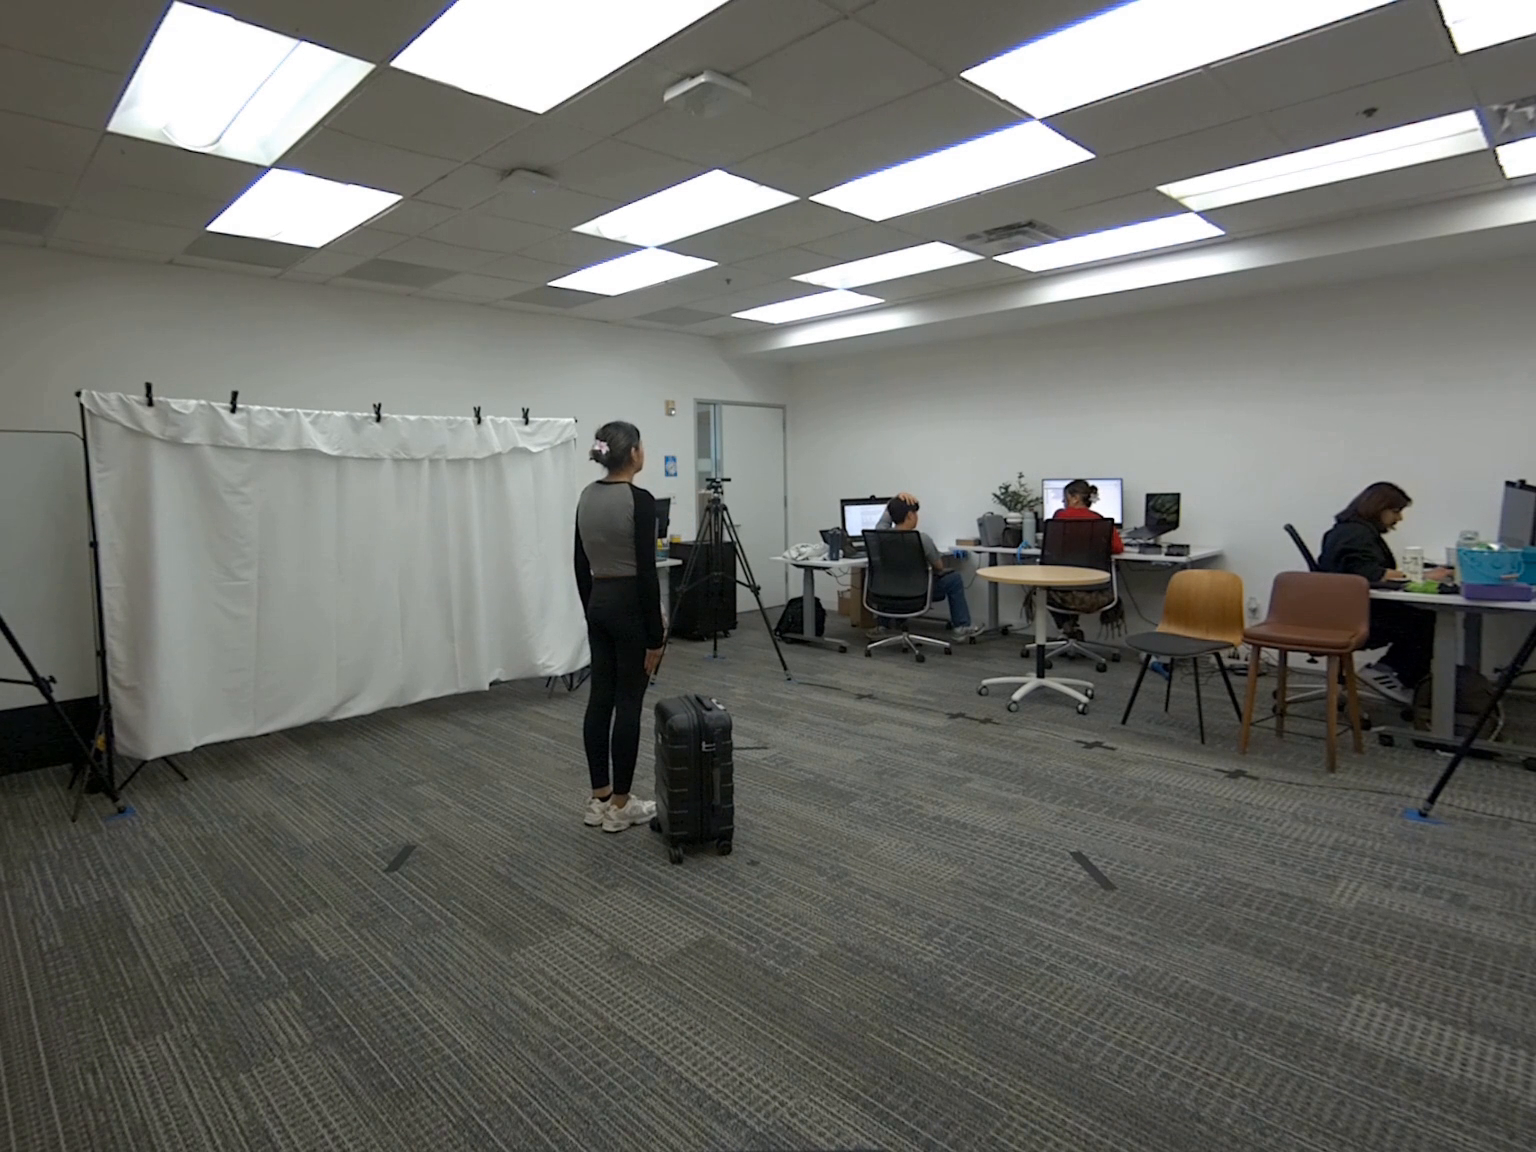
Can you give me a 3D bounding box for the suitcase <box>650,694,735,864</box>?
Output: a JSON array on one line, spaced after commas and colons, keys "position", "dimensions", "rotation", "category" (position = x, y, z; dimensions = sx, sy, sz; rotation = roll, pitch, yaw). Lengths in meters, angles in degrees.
[{"position": [-0.290, 0.748, 3.283], "dimensions": [0.244, 0.547, 0.383], "rotation": [-2, 5, -17], "category": "suitcase"}]
